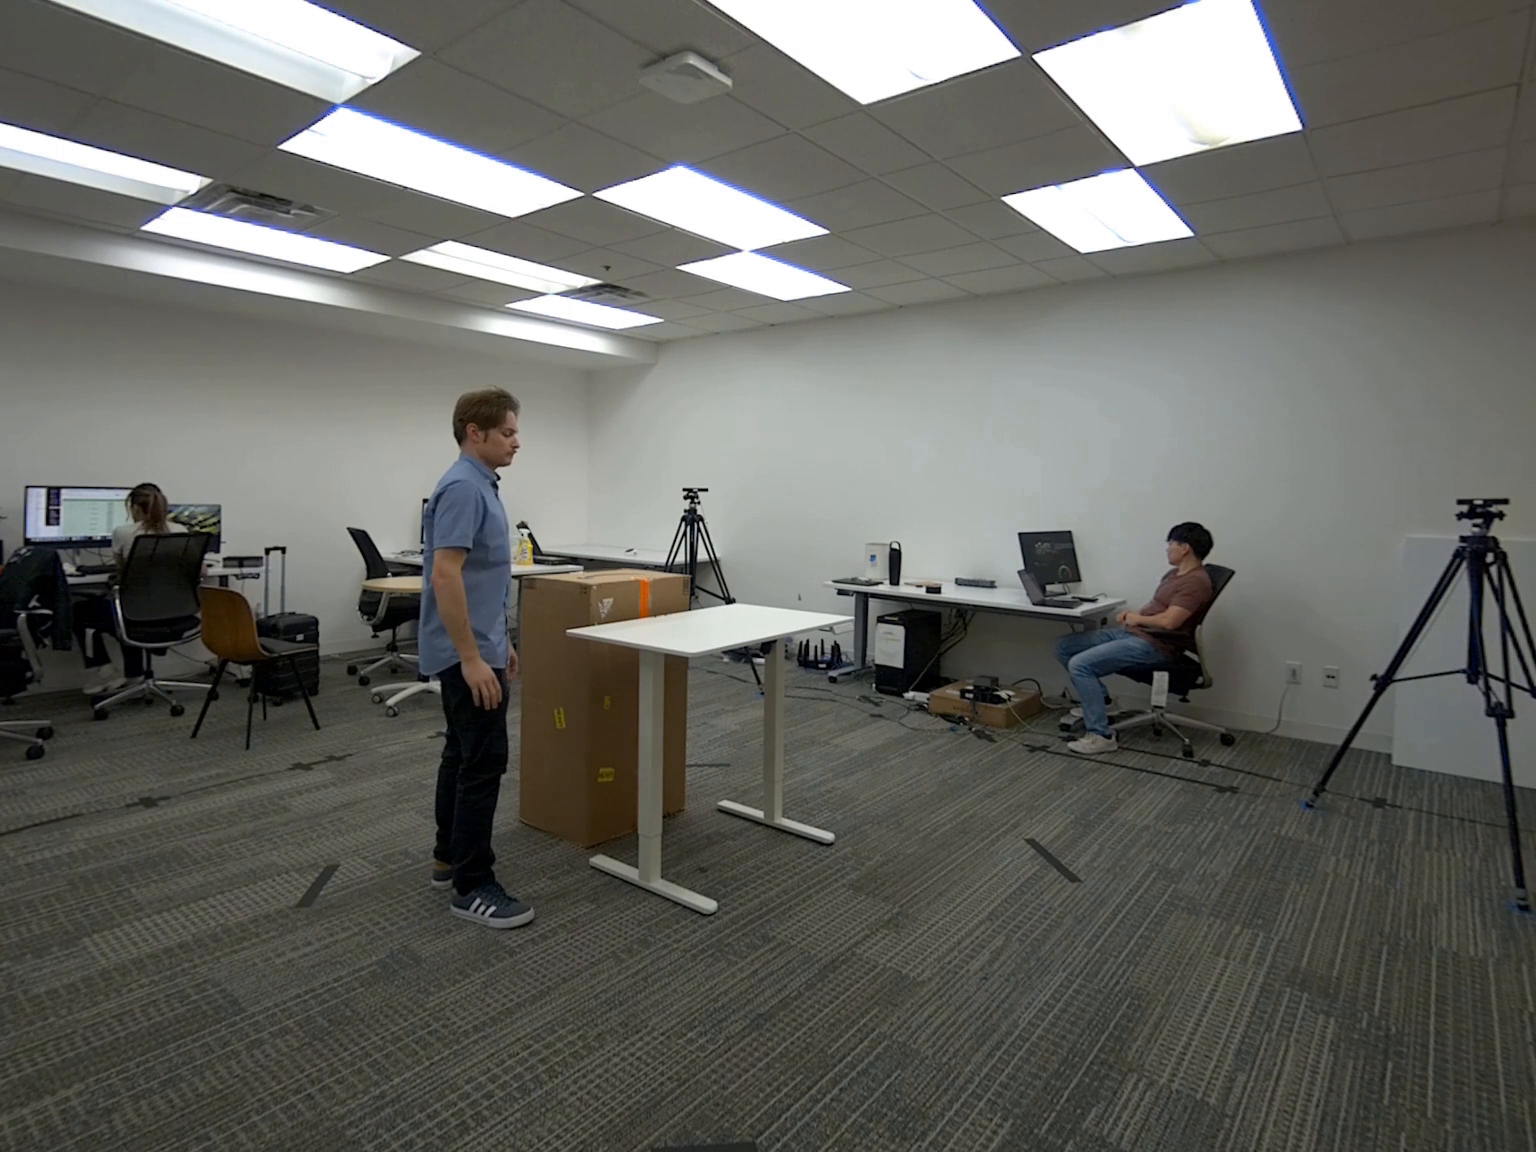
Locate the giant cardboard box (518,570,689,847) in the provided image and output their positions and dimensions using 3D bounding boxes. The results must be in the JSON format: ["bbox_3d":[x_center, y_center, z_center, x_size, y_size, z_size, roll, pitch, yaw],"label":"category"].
[{"bbox_3d":[-0.694,0.504,3.593,0.440,1.024,0.560,3,3,38],"label":"giant cardboard box"}]
